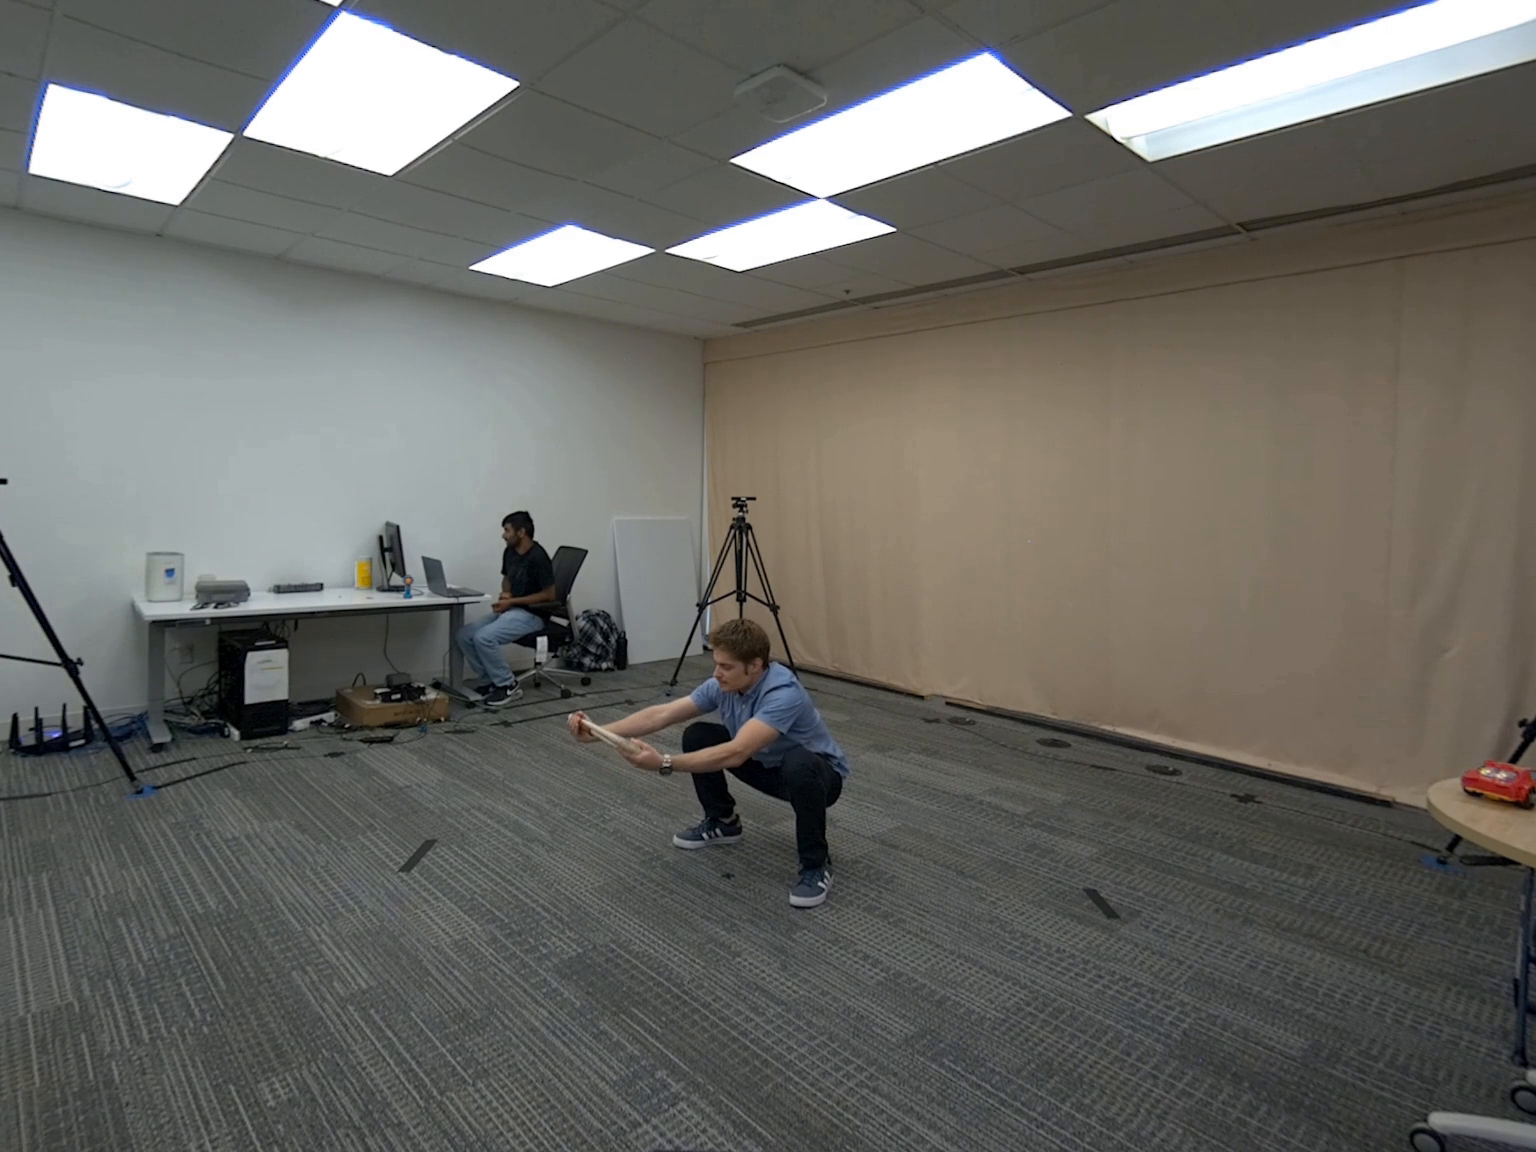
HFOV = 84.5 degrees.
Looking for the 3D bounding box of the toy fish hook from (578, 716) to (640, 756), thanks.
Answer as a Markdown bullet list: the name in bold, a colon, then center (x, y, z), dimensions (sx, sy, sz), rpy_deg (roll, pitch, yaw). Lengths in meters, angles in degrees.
- **toy fish hook**: center (-0.603, 0.546, 2.973), dimensions (0.520, 0.048, 0.218), rpy_deg (11, -28, 48)
